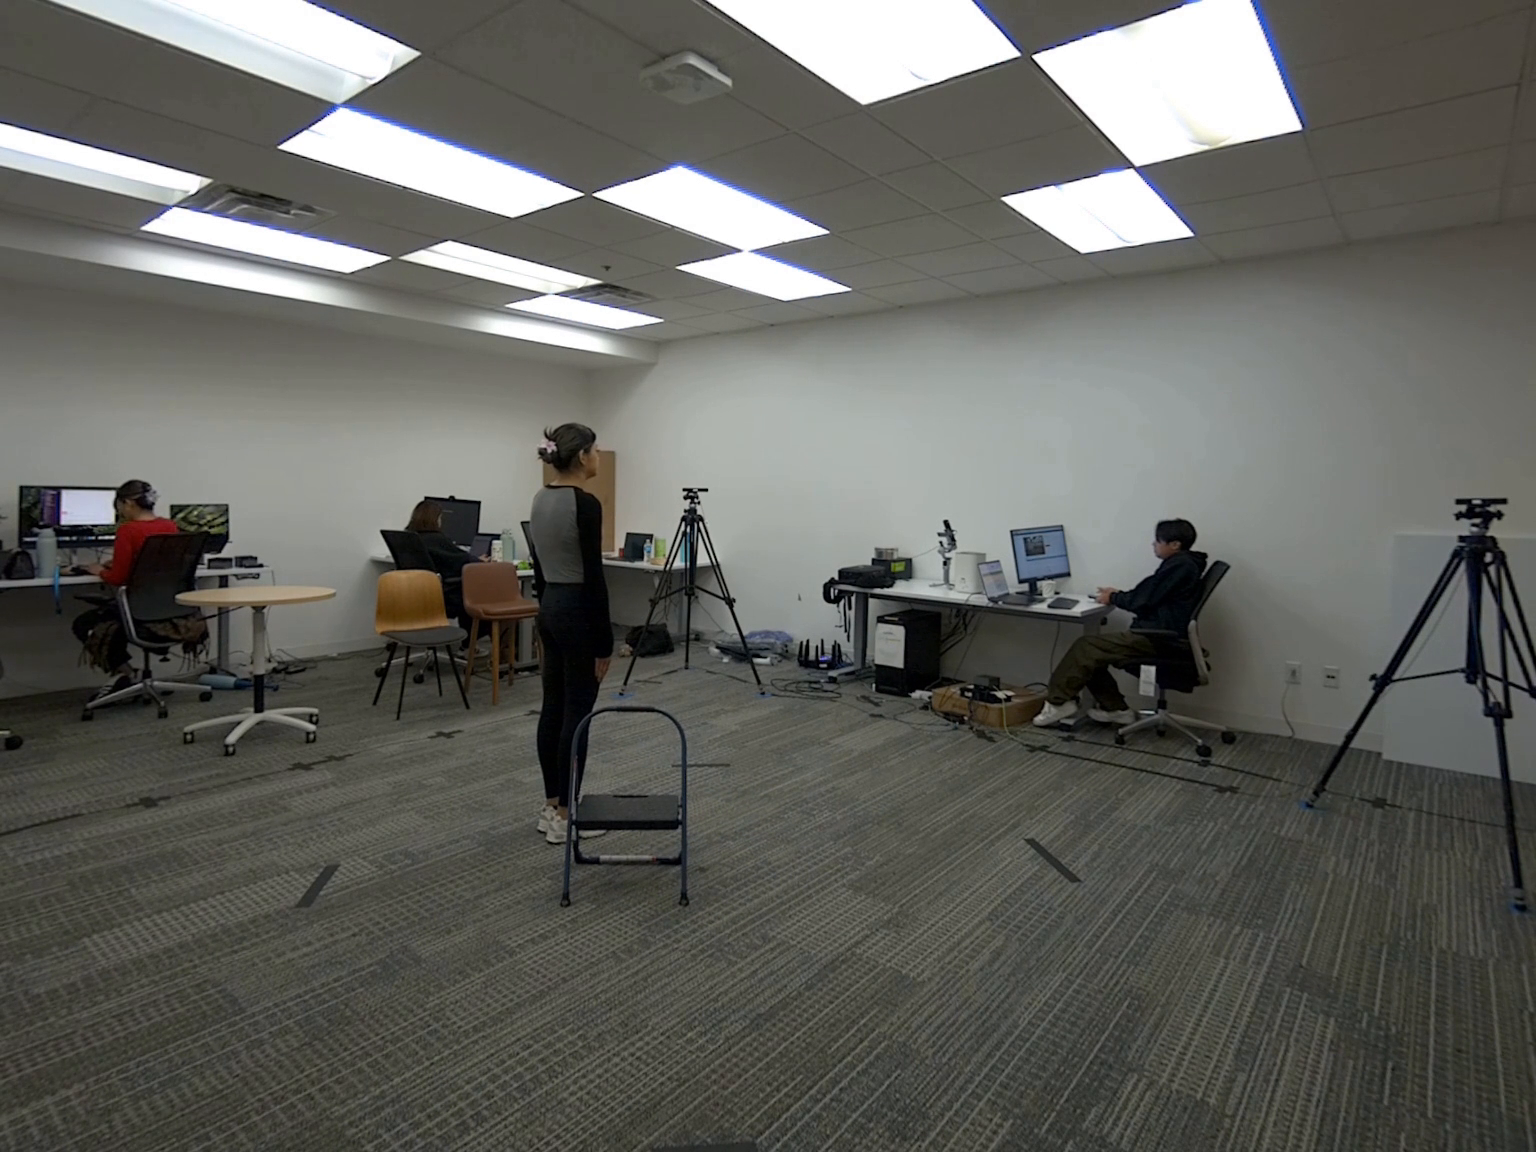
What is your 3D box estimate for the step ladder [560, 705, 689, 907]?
[{"bbox_3d":[-0.496,0.776,2.983,0.429,0.604,0.352,1,4,-5],"label":"step ladder"}]
